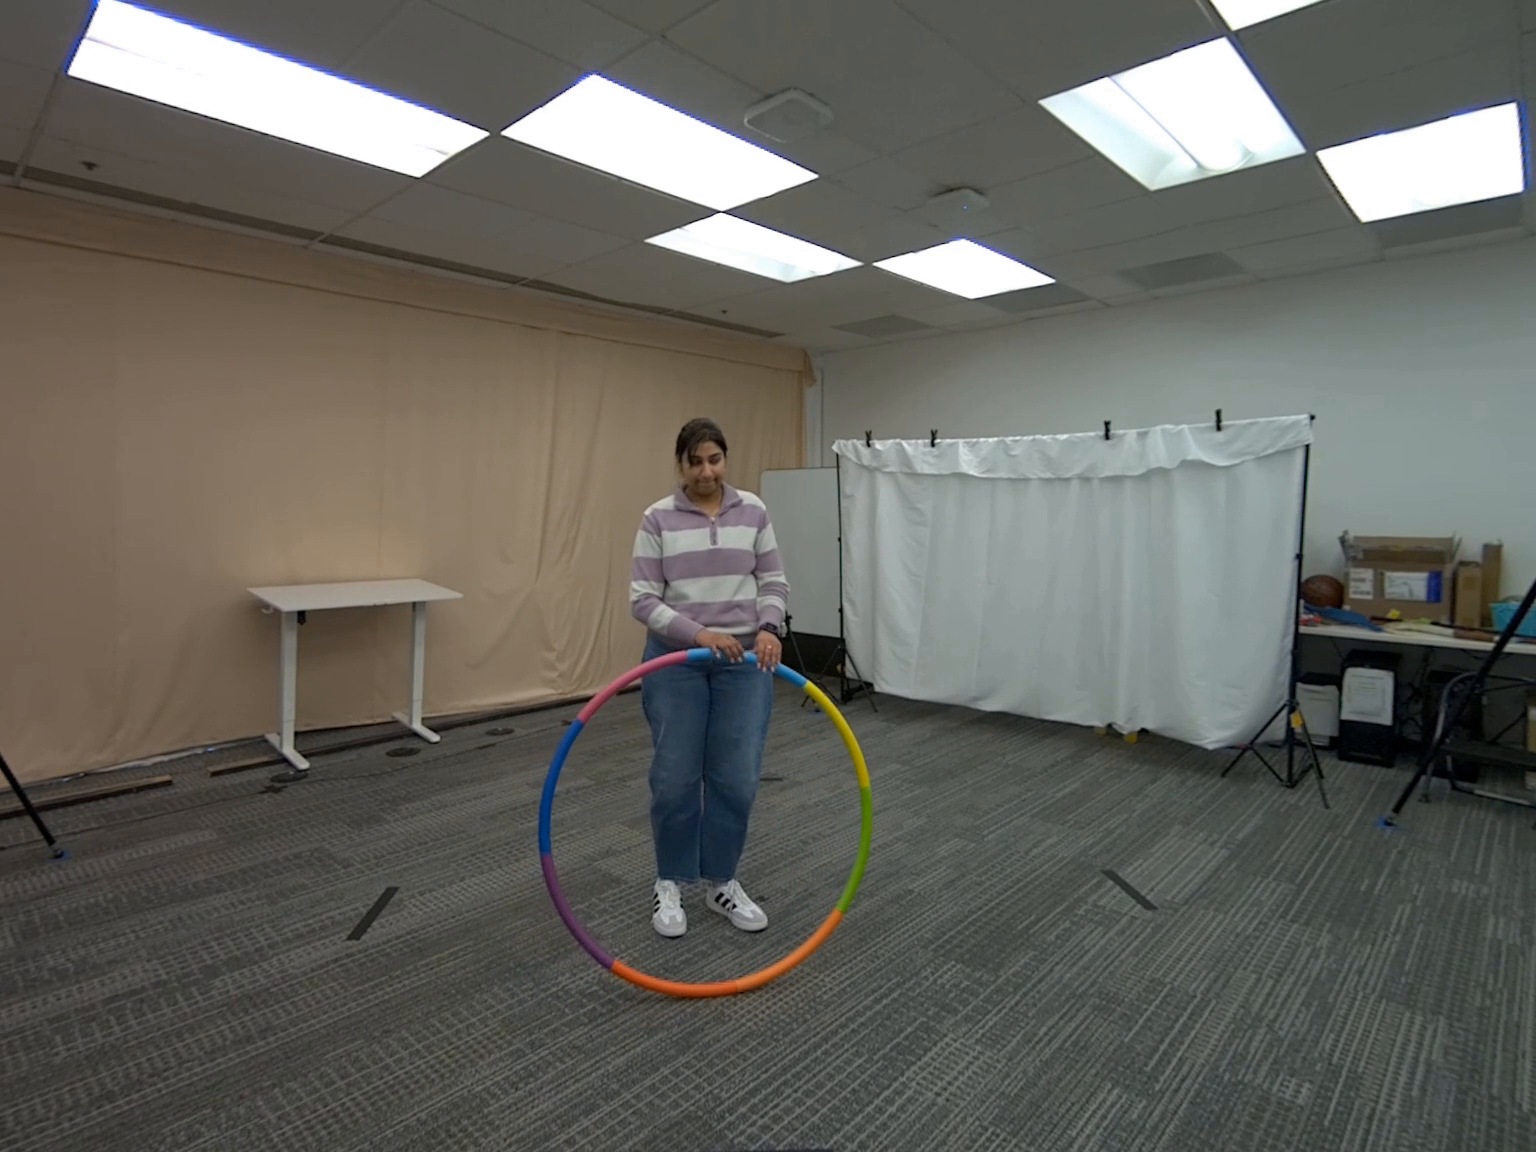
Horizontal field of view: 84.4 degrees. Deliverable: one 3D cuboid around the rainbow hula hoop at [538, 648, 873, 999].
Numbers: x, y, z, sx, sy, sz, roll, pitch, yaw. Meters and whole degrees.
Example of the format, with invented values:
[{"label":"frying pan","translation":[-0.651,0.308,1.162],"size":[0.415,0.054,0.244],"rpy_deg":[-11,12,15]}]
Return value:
[{"label":"rainbow hula hoop","translation":[-0.155,0.711,2.443],"size":[0.974,0.989,0.052],"rpy_deg":[-1,-5,-10]}]
